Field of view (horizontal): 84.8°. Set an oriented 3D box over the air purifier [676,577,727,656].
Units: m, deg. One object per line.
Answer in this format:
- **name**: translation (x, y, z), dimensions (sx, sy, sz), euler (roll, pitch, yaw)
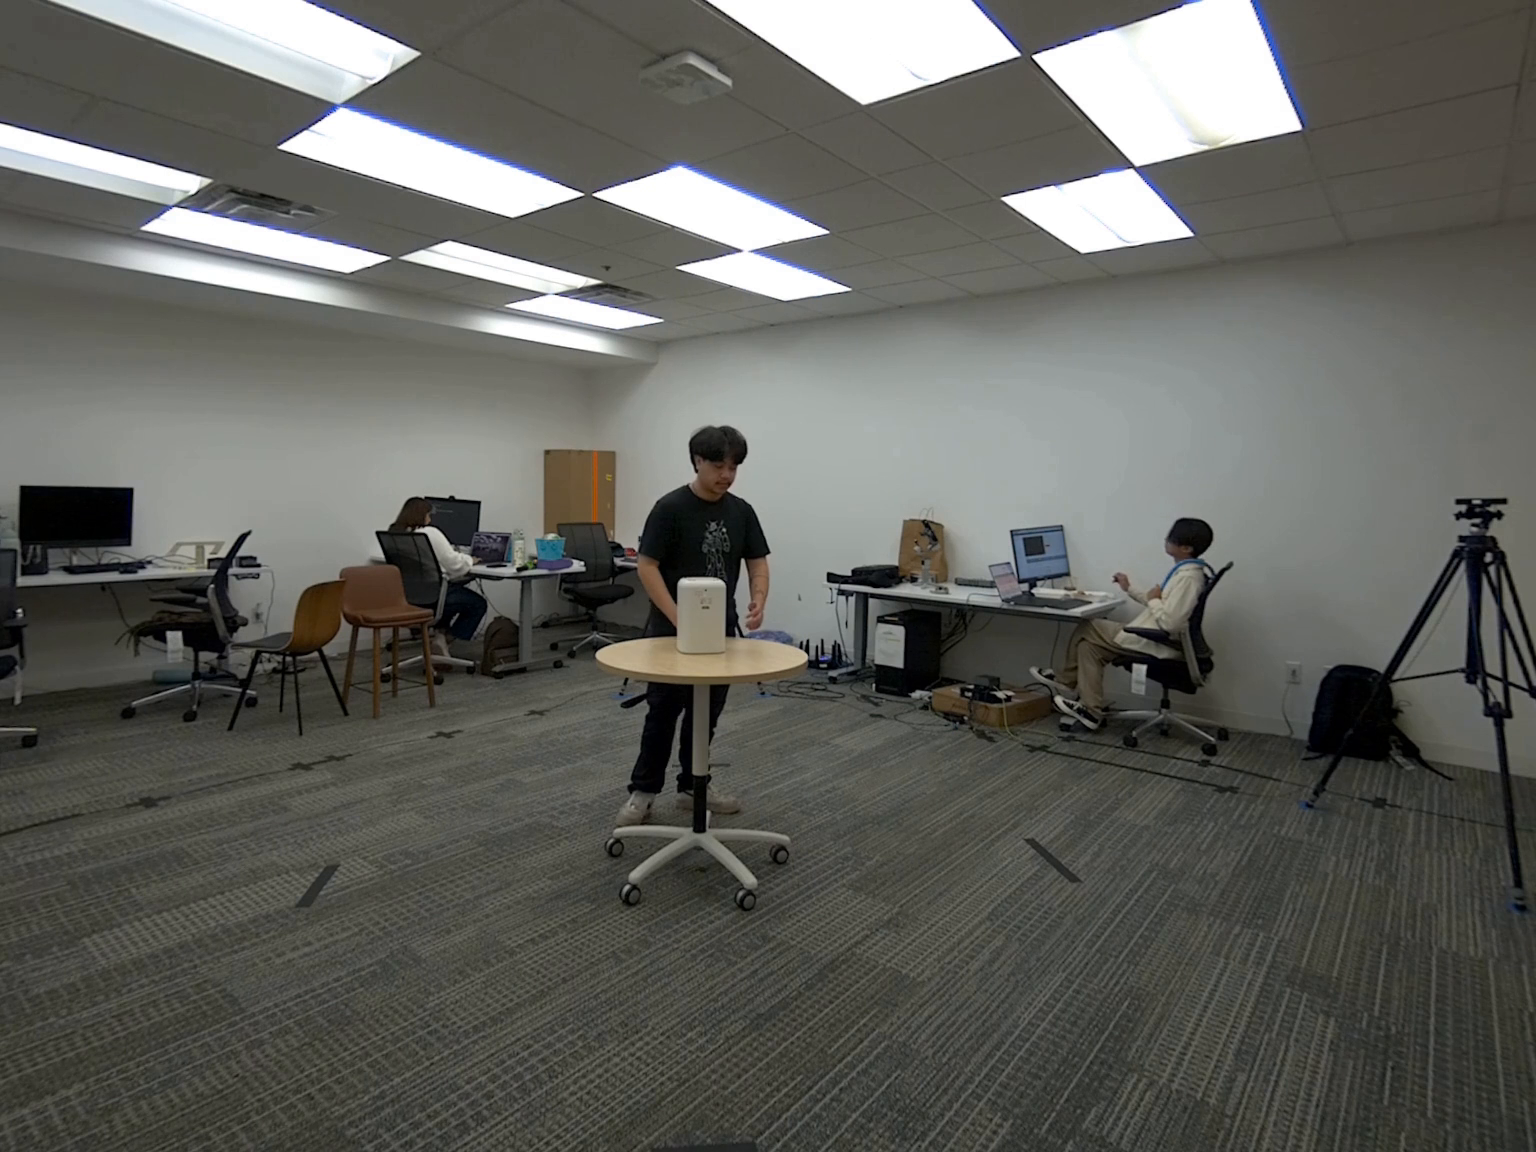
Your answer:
- **air purifier**: translation (-0.261, 0.136, 3.145), dimensions (0.169, 0.264, 0.174), euler (-1, 4, -11)
